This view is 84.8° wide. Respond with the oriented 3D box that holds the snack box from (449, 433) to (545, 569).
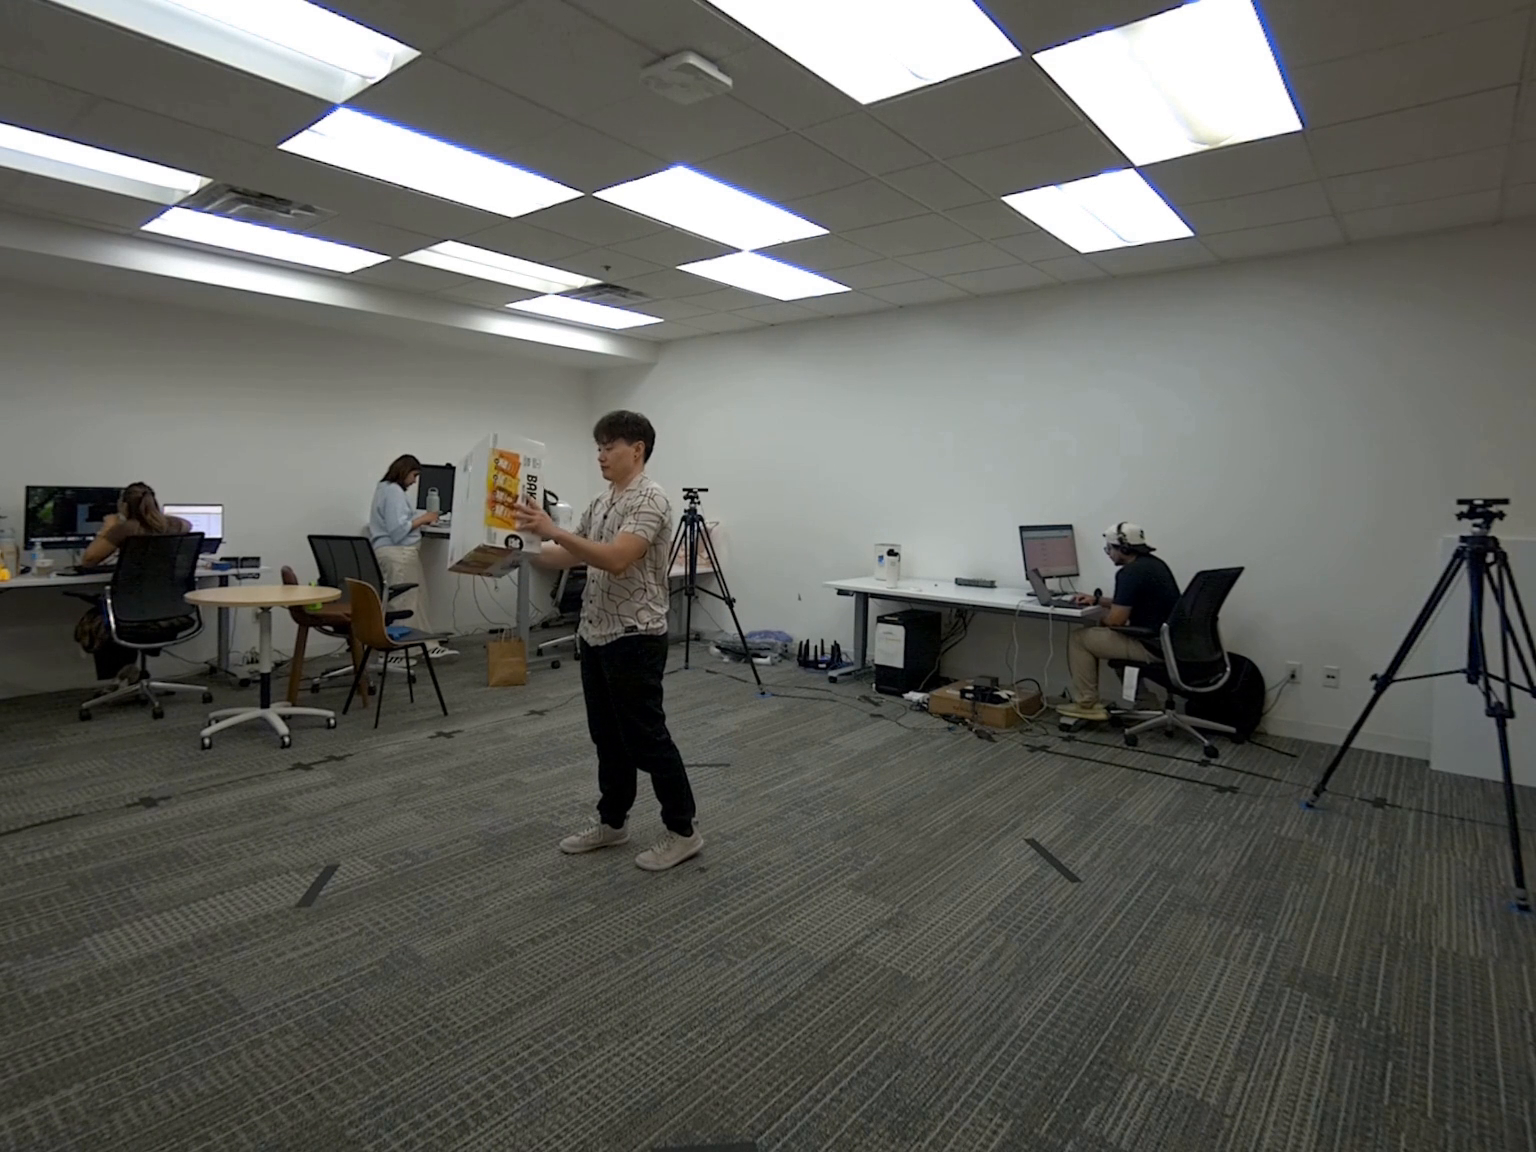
[{"bbox_3d":[-0.962,-0.243,2.974,0.198,0.412,0.346,11,-22,-36],"label":"snack box"}]
